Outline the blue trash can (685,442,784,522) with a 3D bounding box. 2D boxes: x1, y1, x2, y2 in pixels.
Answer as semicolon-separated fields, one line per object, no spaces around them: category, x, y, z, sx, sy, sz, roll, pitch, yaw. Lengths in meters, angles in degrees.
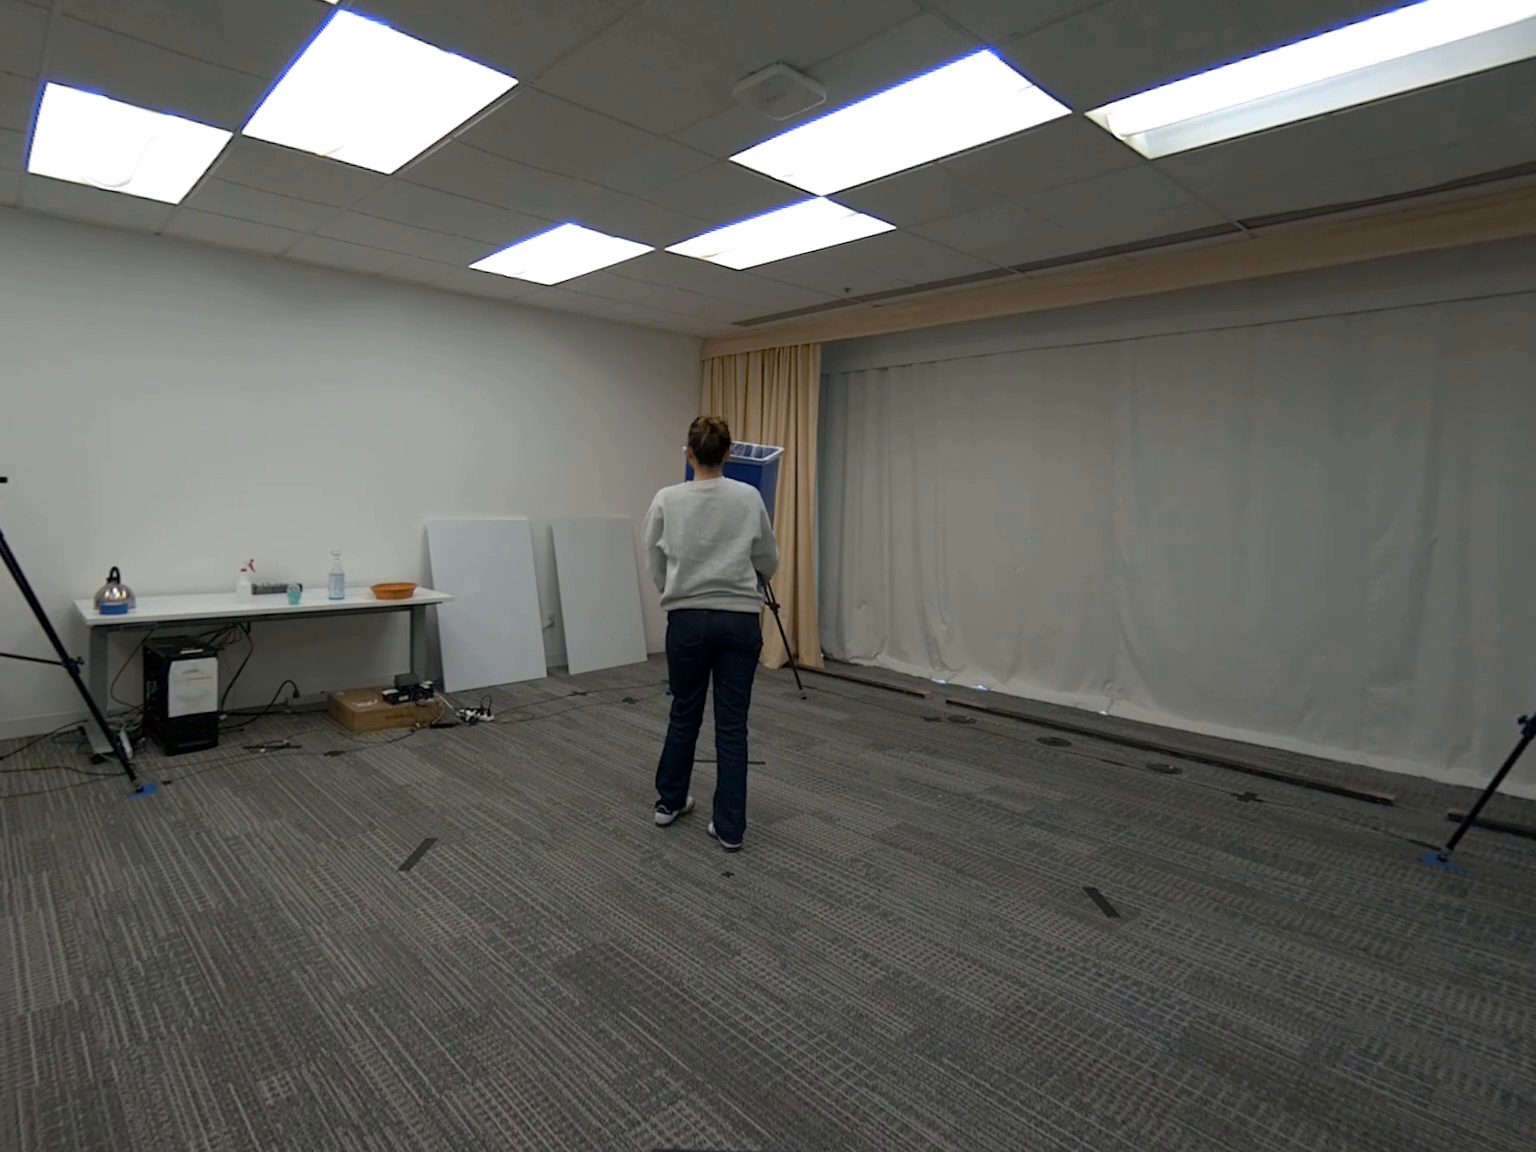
blue trash can;-0.181;-0.214;3.712;0.383;0.706;0.373;9;16;14
